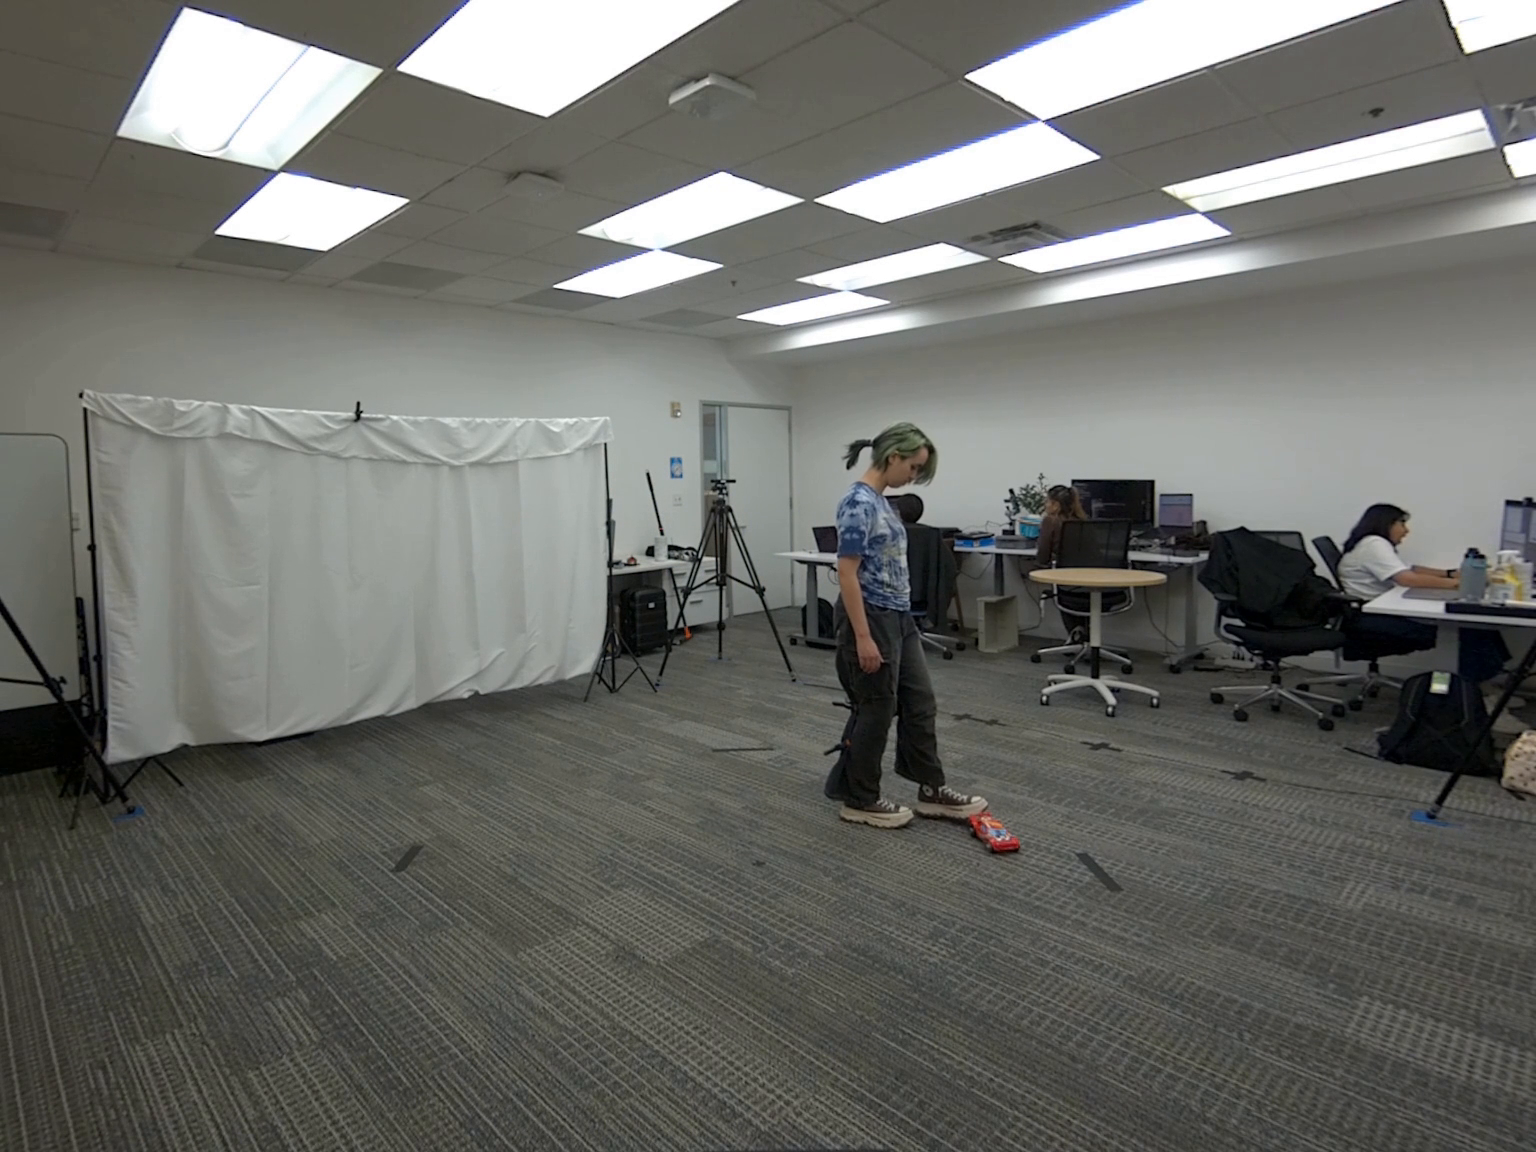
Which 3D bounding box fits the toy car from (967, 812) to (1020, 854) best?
[{"bbox_3d":[0.857,0.984,3.265,0.129,0.082,0.259,-2,15,-8],"label":"toy car"}]
